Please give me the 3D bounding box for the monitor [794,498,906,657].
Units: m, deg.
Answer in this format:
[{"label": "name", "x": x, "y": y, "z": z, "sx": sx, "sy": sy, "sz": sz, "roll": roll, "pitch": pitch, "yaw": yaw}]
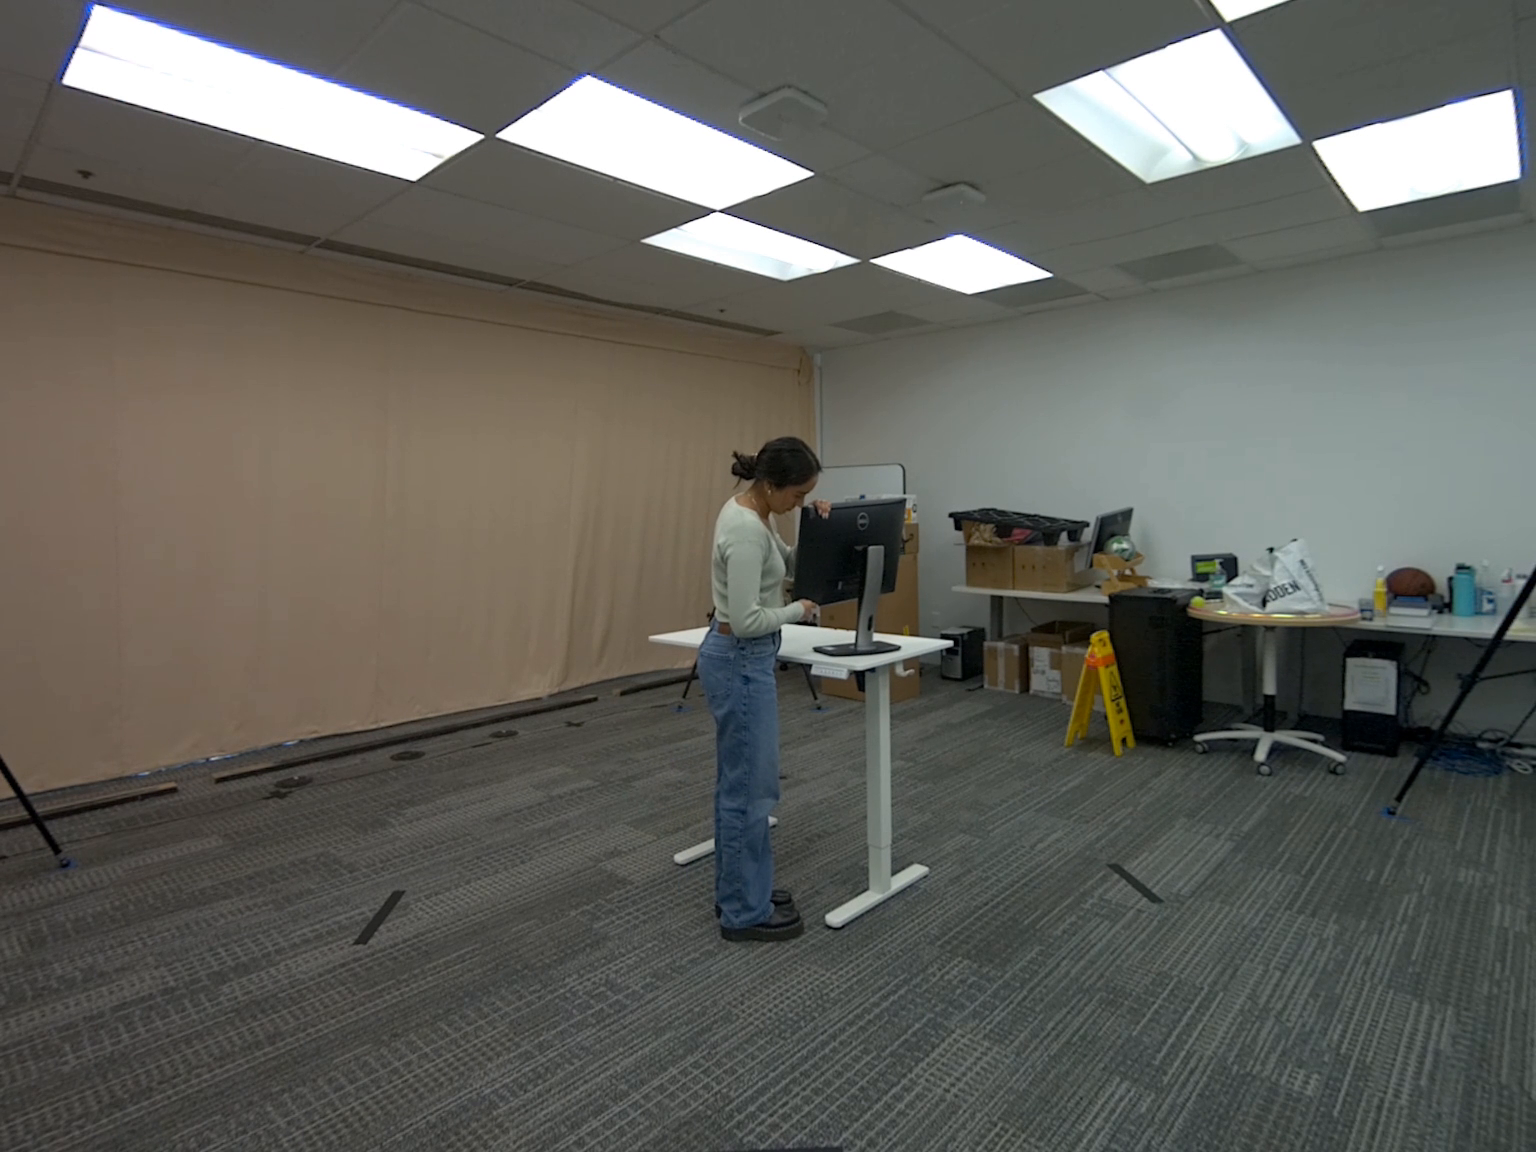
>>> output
[{"label": "monitor", "x": 0.319, "y": 0.008, "z": 2.854, "sx": 0.523, "sy": 0.521, "sz": 0.193, "roll": -7, "pitch": 6, "yaw": -43}]
